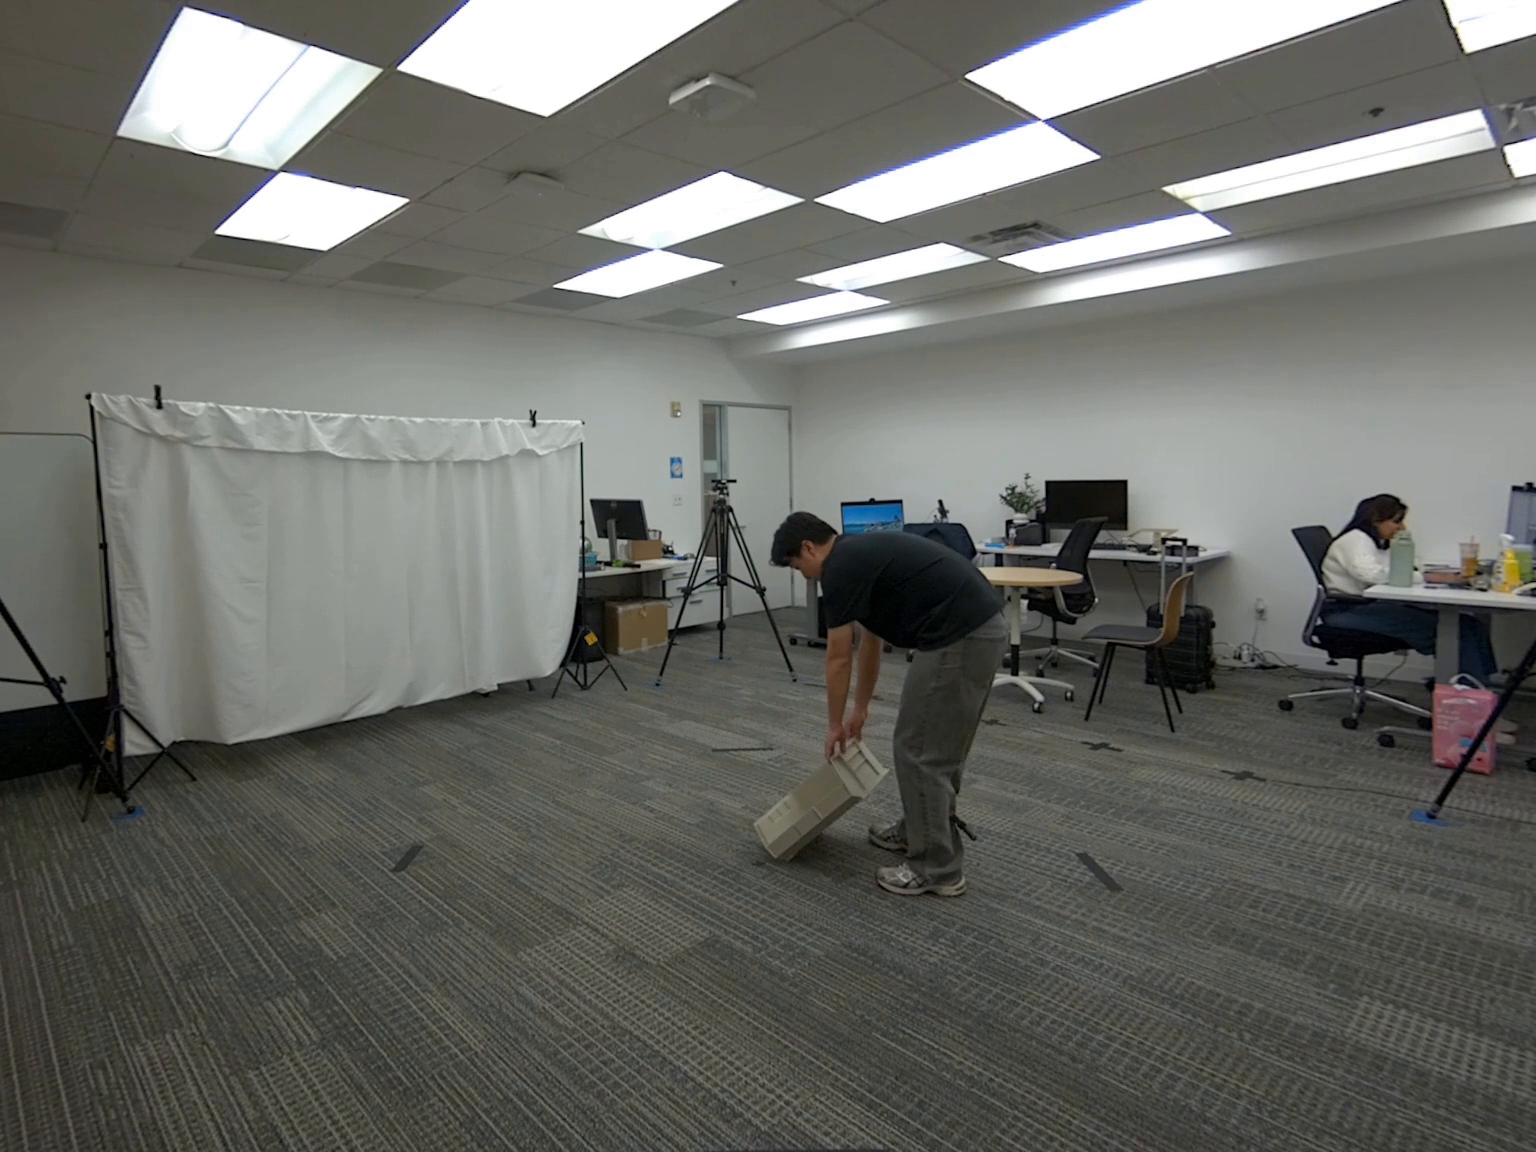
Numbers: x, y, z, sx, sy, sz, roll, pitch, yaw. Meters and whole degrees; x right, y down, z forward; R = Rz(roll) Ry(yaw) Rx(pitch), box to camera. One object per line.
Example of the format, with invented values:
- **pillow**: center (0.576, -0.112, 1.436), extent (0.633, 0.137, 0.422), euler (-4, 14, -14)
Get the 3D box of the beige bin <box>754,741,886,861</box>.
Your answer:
- **beige bin**: center (0.204, 0.828, 3.177), extent (0.422, 0.193, 0.370), euler (-47, -15, 22)
